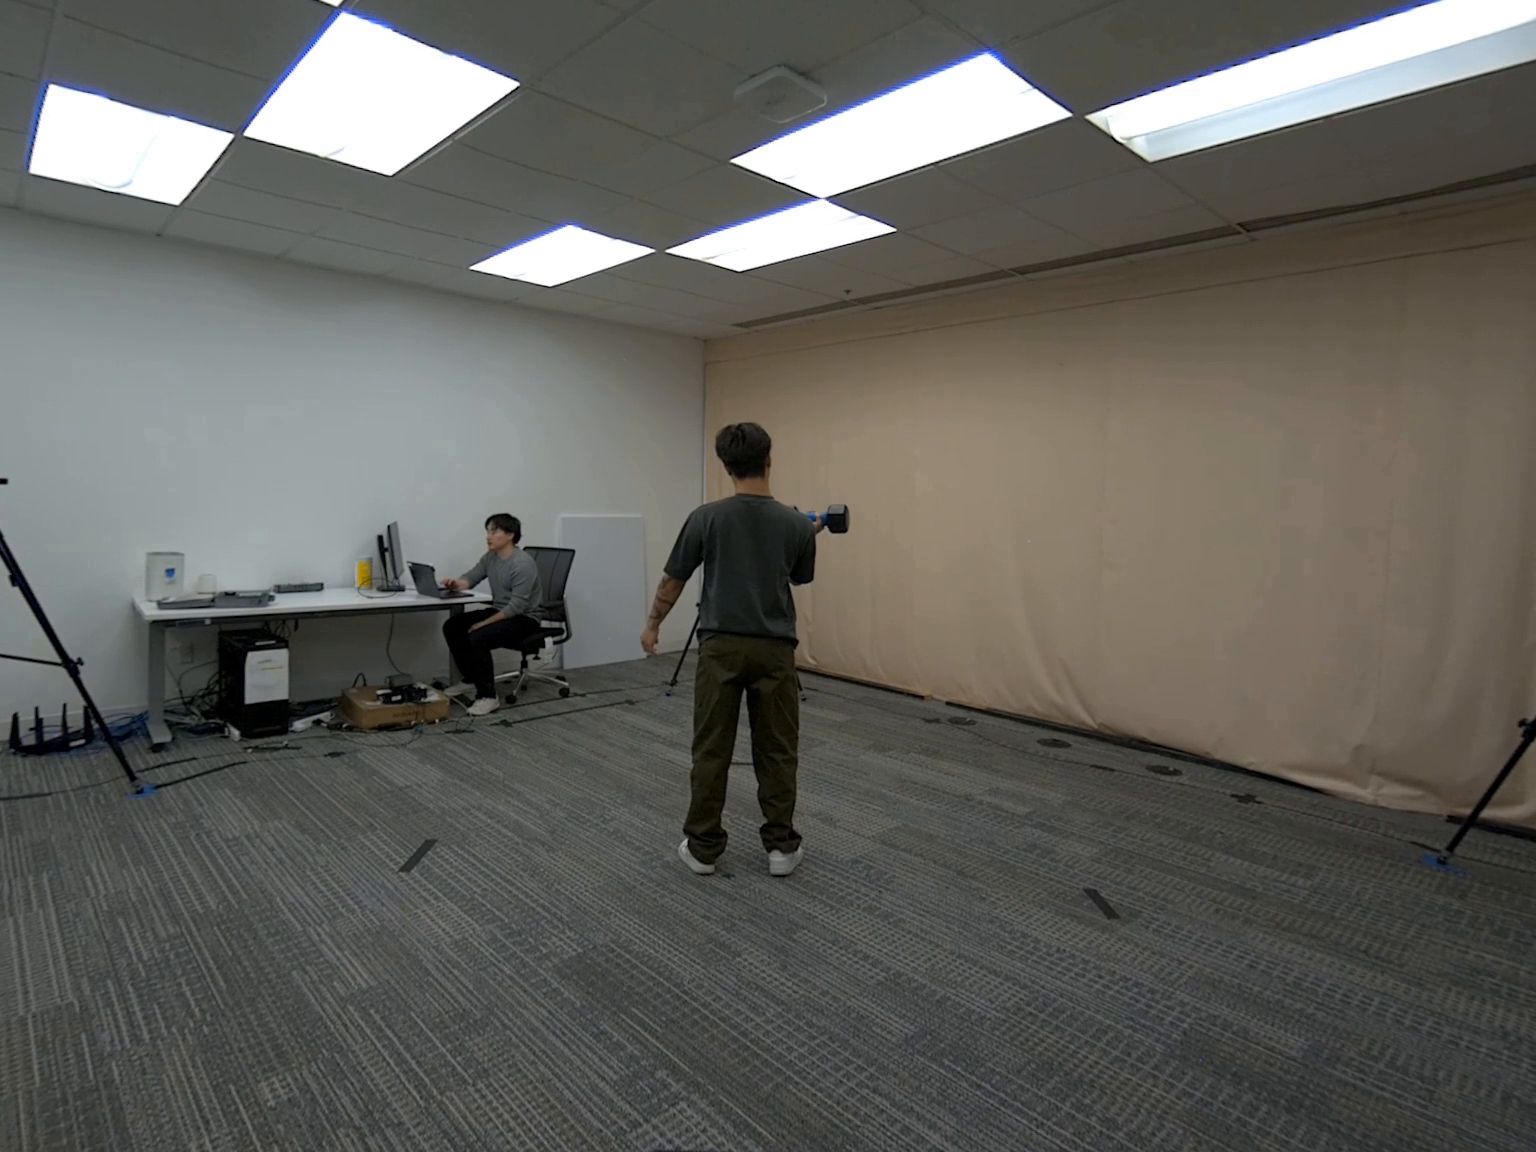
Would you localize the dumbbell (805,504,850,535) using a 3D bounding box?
[{"bbox_3d":[0.181,-0.233,3.501,0.297,0.122,0.108,0,12,16],"label":"dumbbell"}]
